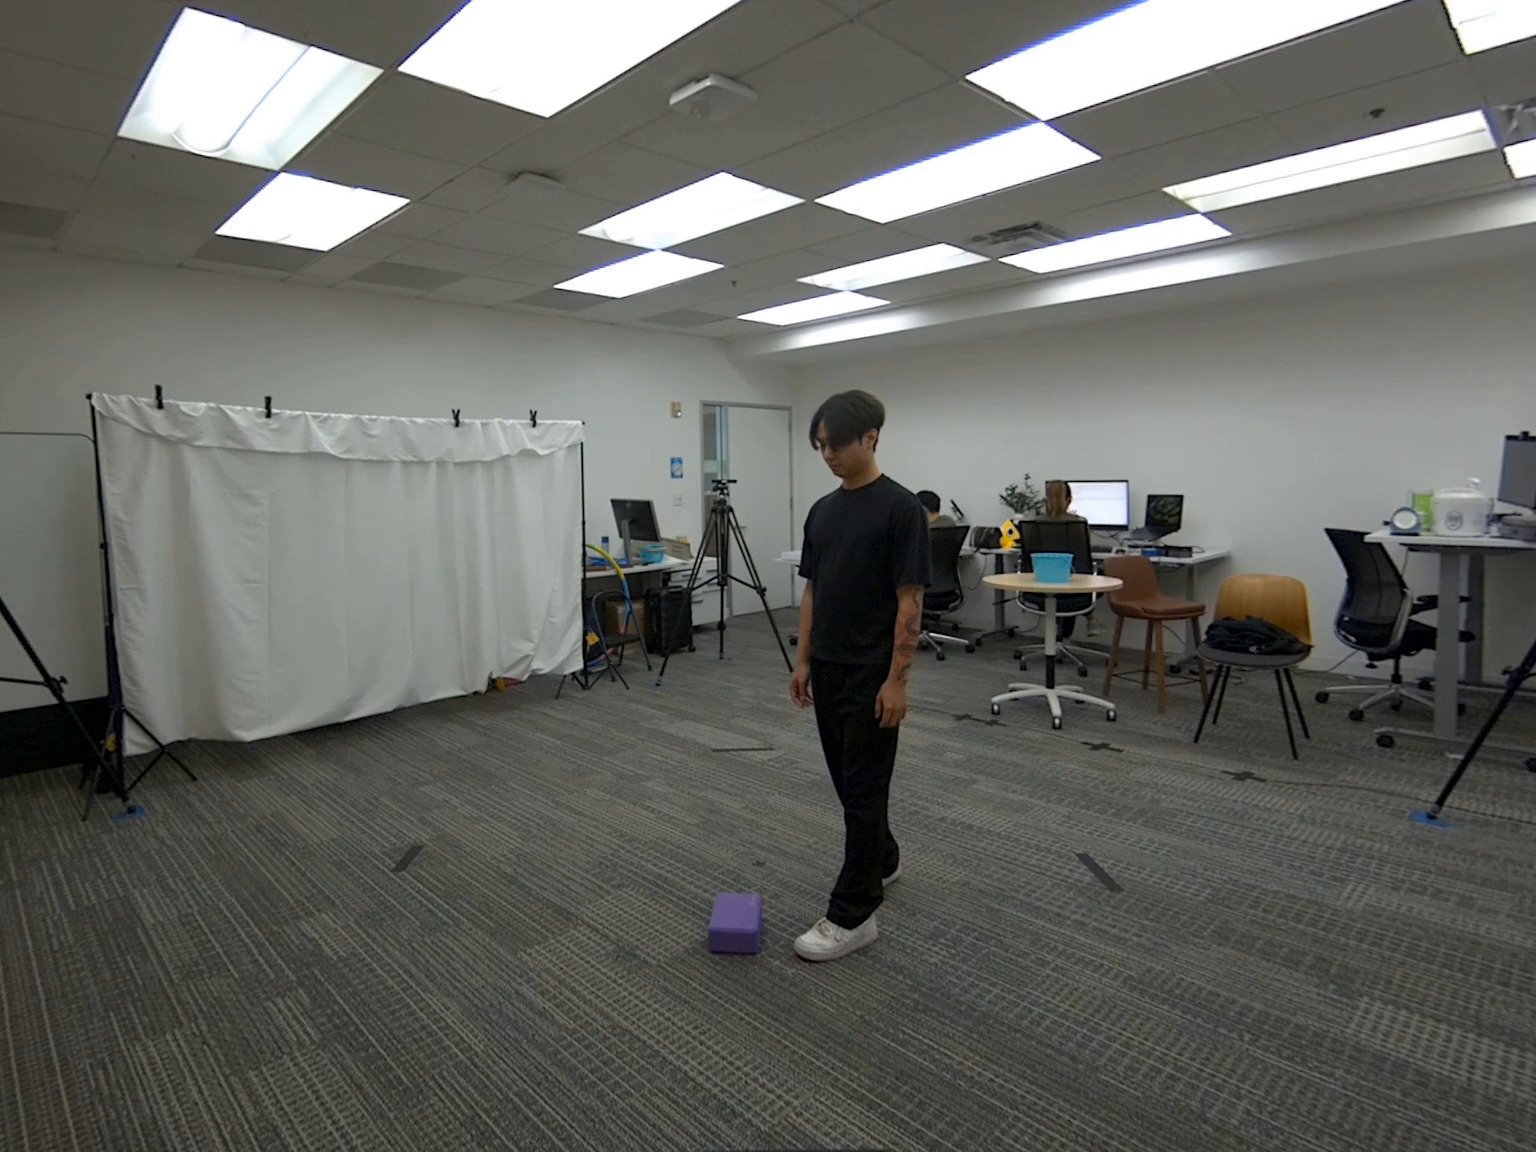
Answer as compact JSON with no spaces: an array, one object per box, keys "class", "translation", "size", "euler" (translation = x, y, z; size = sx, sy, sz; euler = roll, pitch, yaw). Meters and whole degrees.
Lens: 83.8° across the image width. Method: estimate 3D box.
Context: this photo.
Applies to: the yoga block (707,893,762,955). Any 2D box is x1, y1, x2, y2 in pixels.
[{"class":"yoga block","translation":[-0.090,1.059,2.624],"size":[0.150,0.076,0.228],"euler":[-1,3,3]}]
